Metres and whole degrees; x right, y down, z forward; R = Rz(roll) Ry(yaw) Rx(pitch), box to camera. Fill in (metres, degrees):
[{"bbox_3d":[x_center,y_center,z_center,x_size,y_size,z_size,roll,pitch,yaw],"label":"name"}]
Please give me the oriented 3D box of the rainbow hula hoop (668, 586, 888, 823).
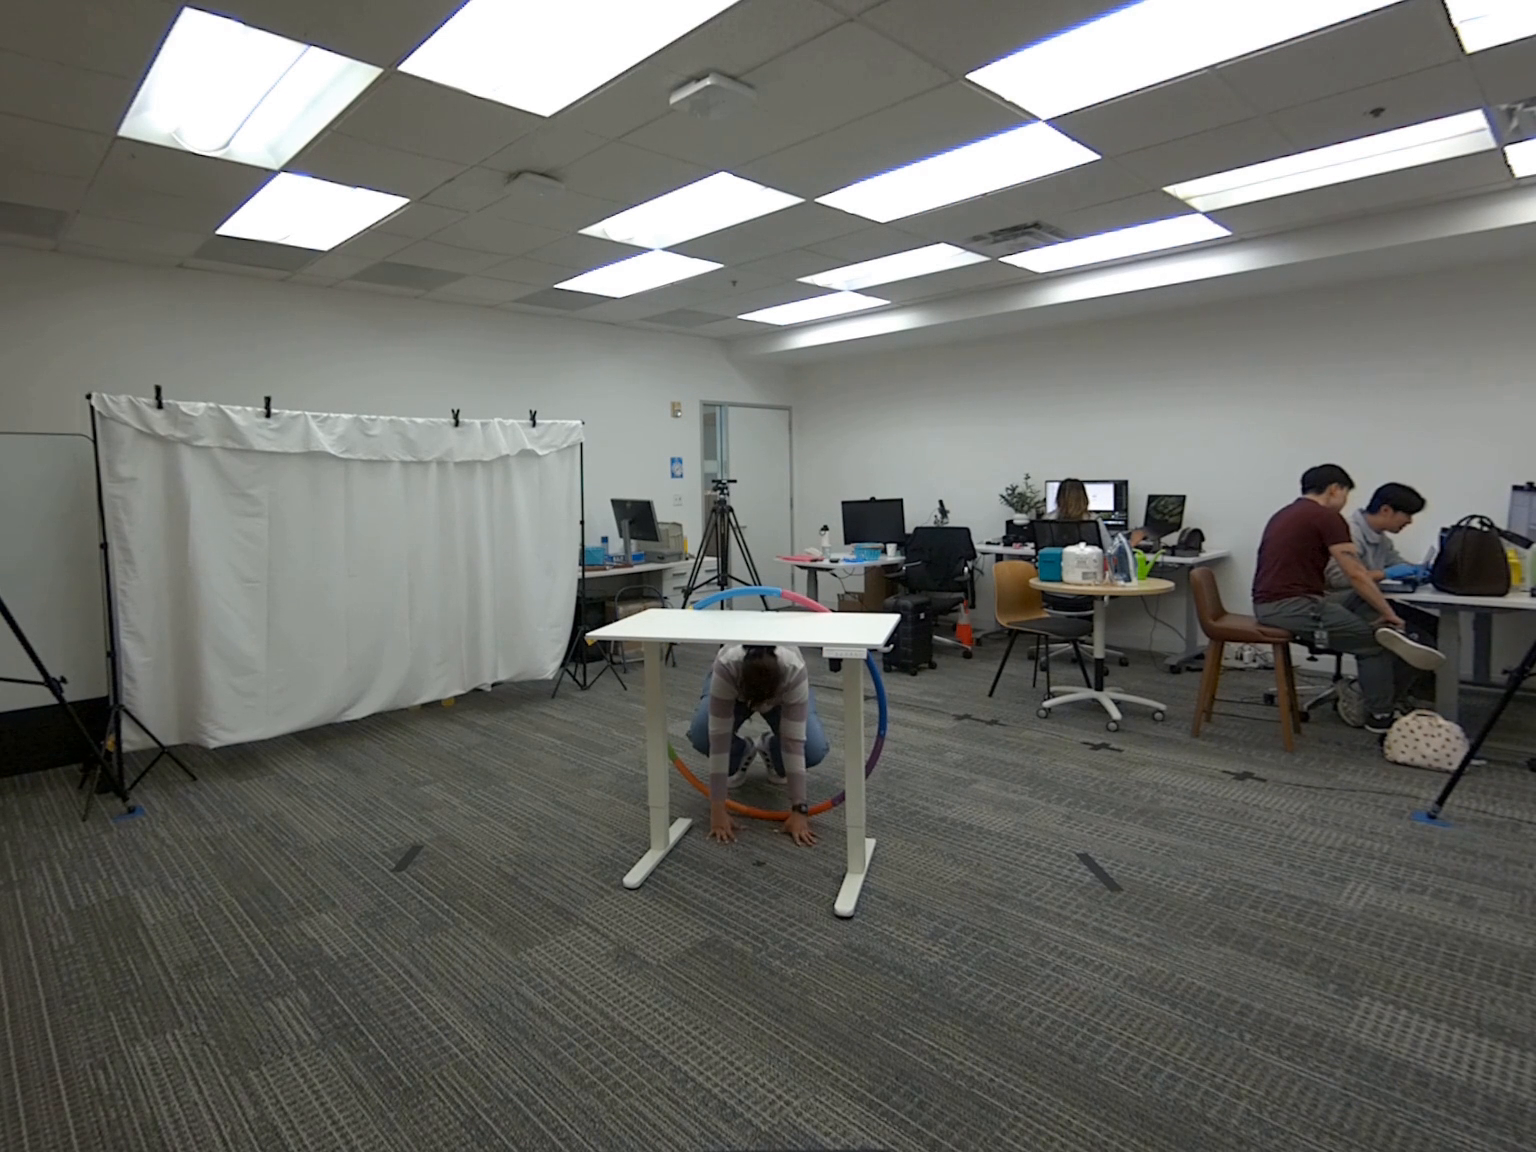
[{"bbox_3d":[-0.012,0.527,3.437,0.994,0.969,0.035,1,11,17],"label":"rainbow hula hoop"}]
